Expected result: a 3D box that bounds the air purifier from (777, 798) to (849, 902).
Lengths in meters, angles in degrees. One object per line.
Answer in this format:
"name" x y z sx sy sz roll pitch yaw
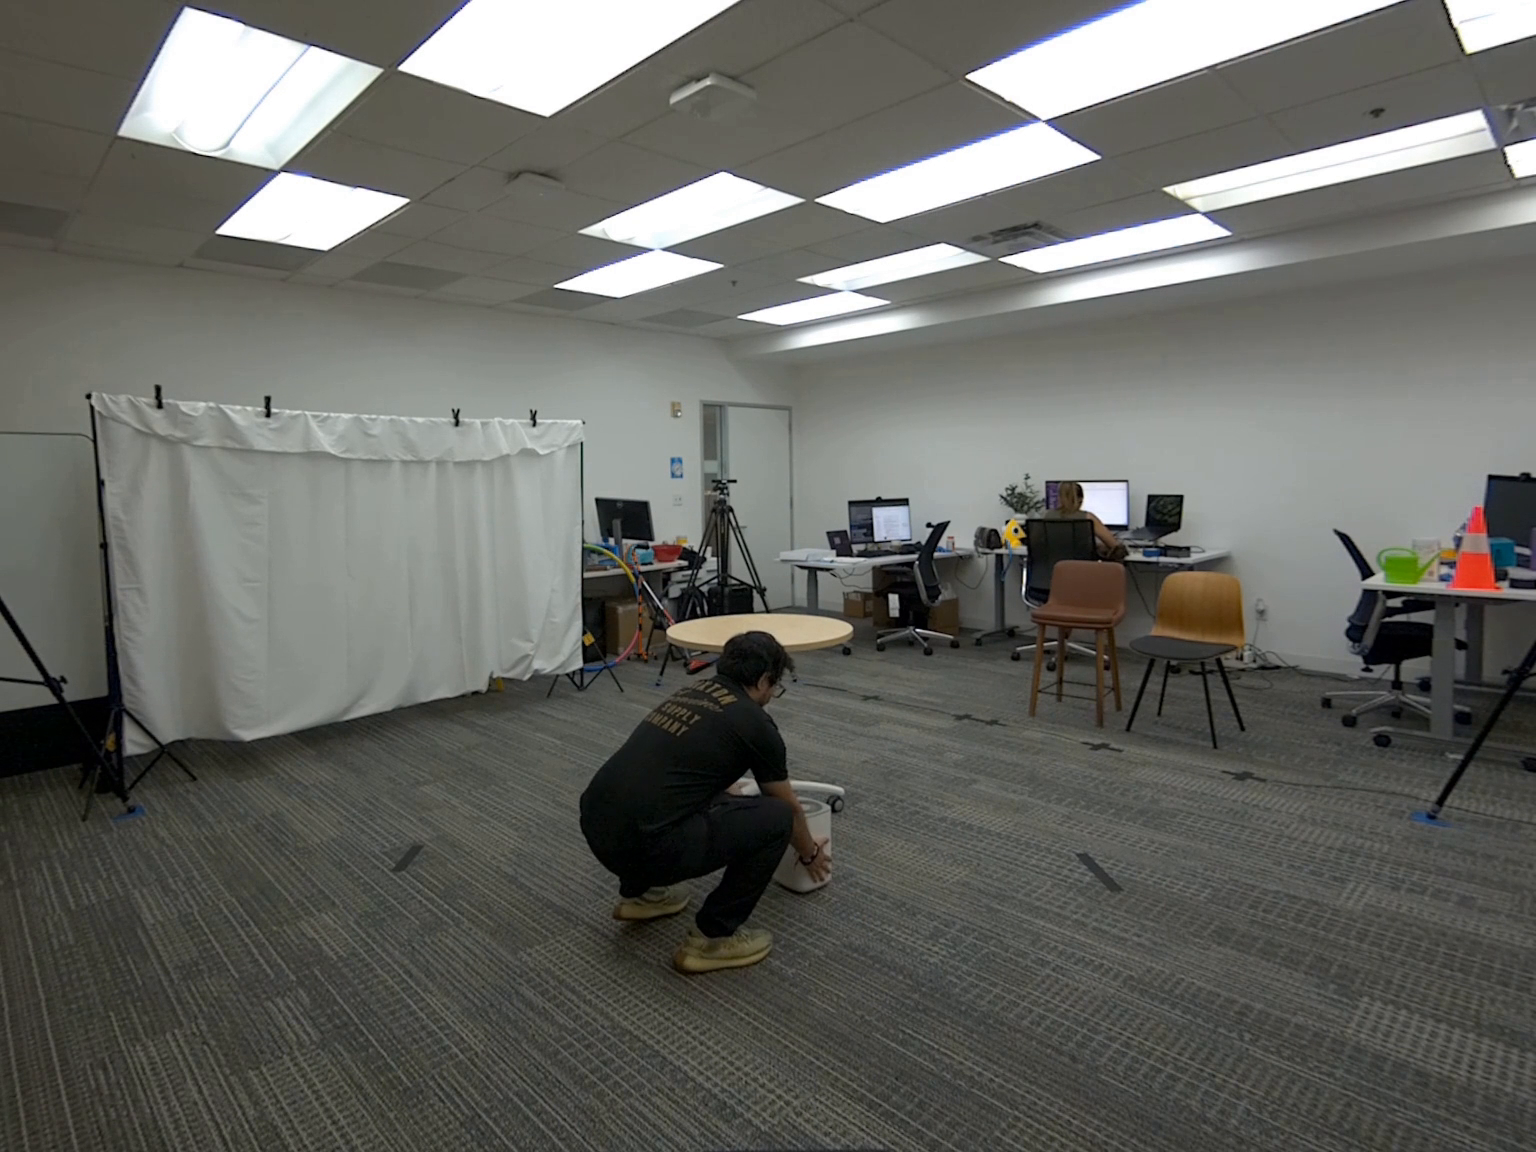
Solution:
"air purifier" 0.148 0.935 2.948 0.166 0.265 0.176 -2 1 -43
